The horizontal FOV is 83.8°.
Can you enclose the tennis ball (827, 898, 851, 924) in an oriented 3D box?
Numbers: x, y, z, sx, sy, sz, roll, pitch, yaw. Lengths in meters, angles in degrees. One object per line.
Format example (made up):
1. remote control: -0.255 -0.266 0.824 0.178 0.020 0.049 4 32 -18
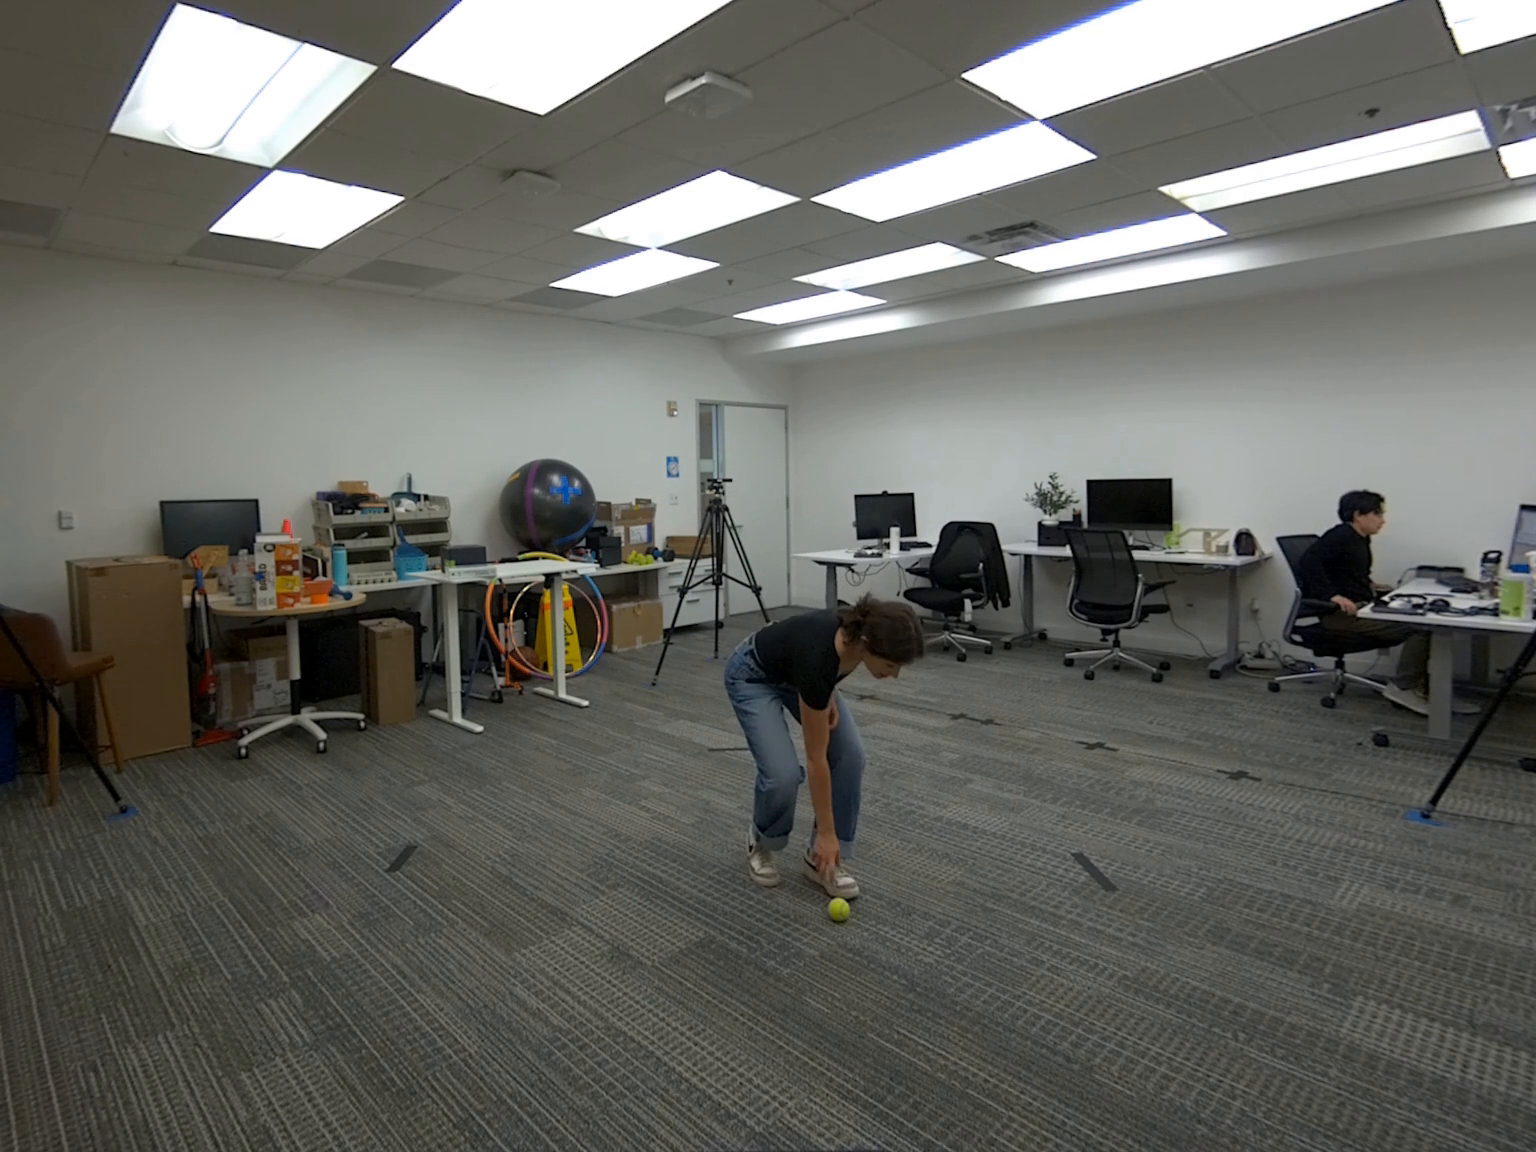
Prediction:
1. tennis ball: 0.233 1.045 2.693 0.066 0.066 0.067 -1 5 -2
